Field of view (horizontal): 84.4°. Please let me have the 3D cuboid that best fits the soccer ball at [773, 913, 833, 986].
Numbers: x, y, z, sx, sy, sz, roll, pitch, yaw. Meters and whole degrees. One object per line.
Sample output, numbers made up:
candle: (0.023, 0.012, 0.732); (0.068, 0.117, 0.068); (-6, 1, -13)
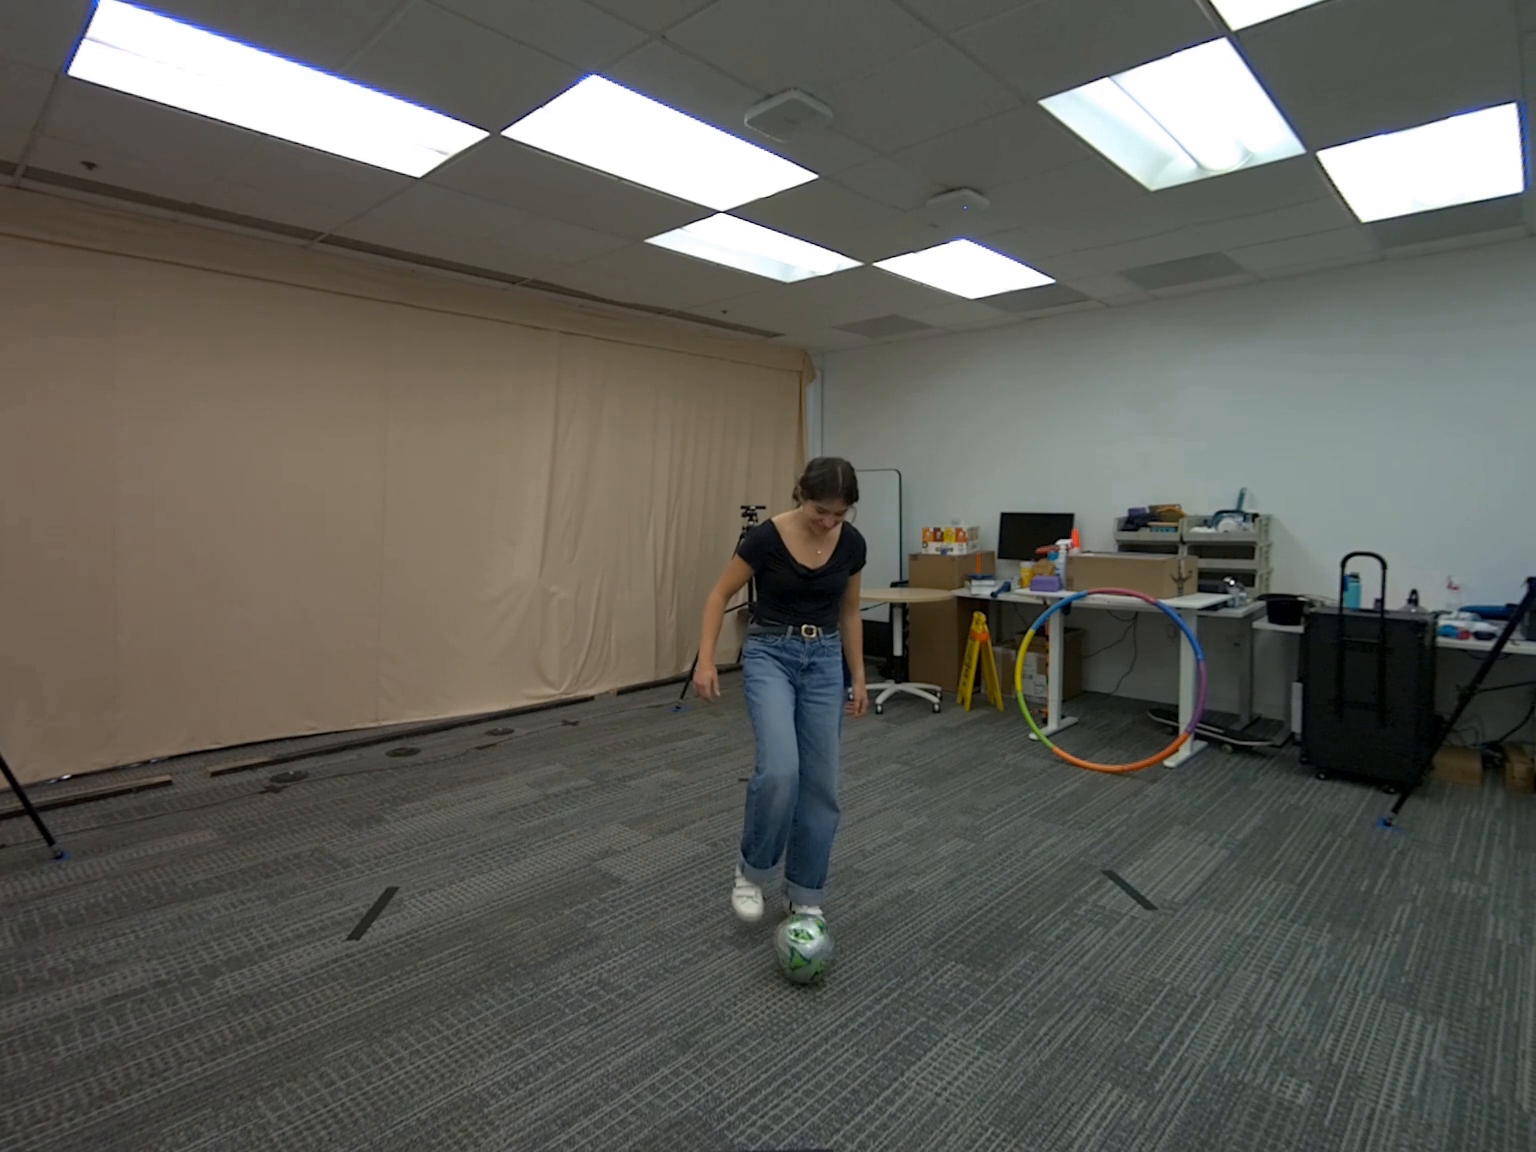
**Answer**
soccer ball: (0.105, 1.085, 2.474); (0.187, 0.187, 0.188); (0, 4, -2)
